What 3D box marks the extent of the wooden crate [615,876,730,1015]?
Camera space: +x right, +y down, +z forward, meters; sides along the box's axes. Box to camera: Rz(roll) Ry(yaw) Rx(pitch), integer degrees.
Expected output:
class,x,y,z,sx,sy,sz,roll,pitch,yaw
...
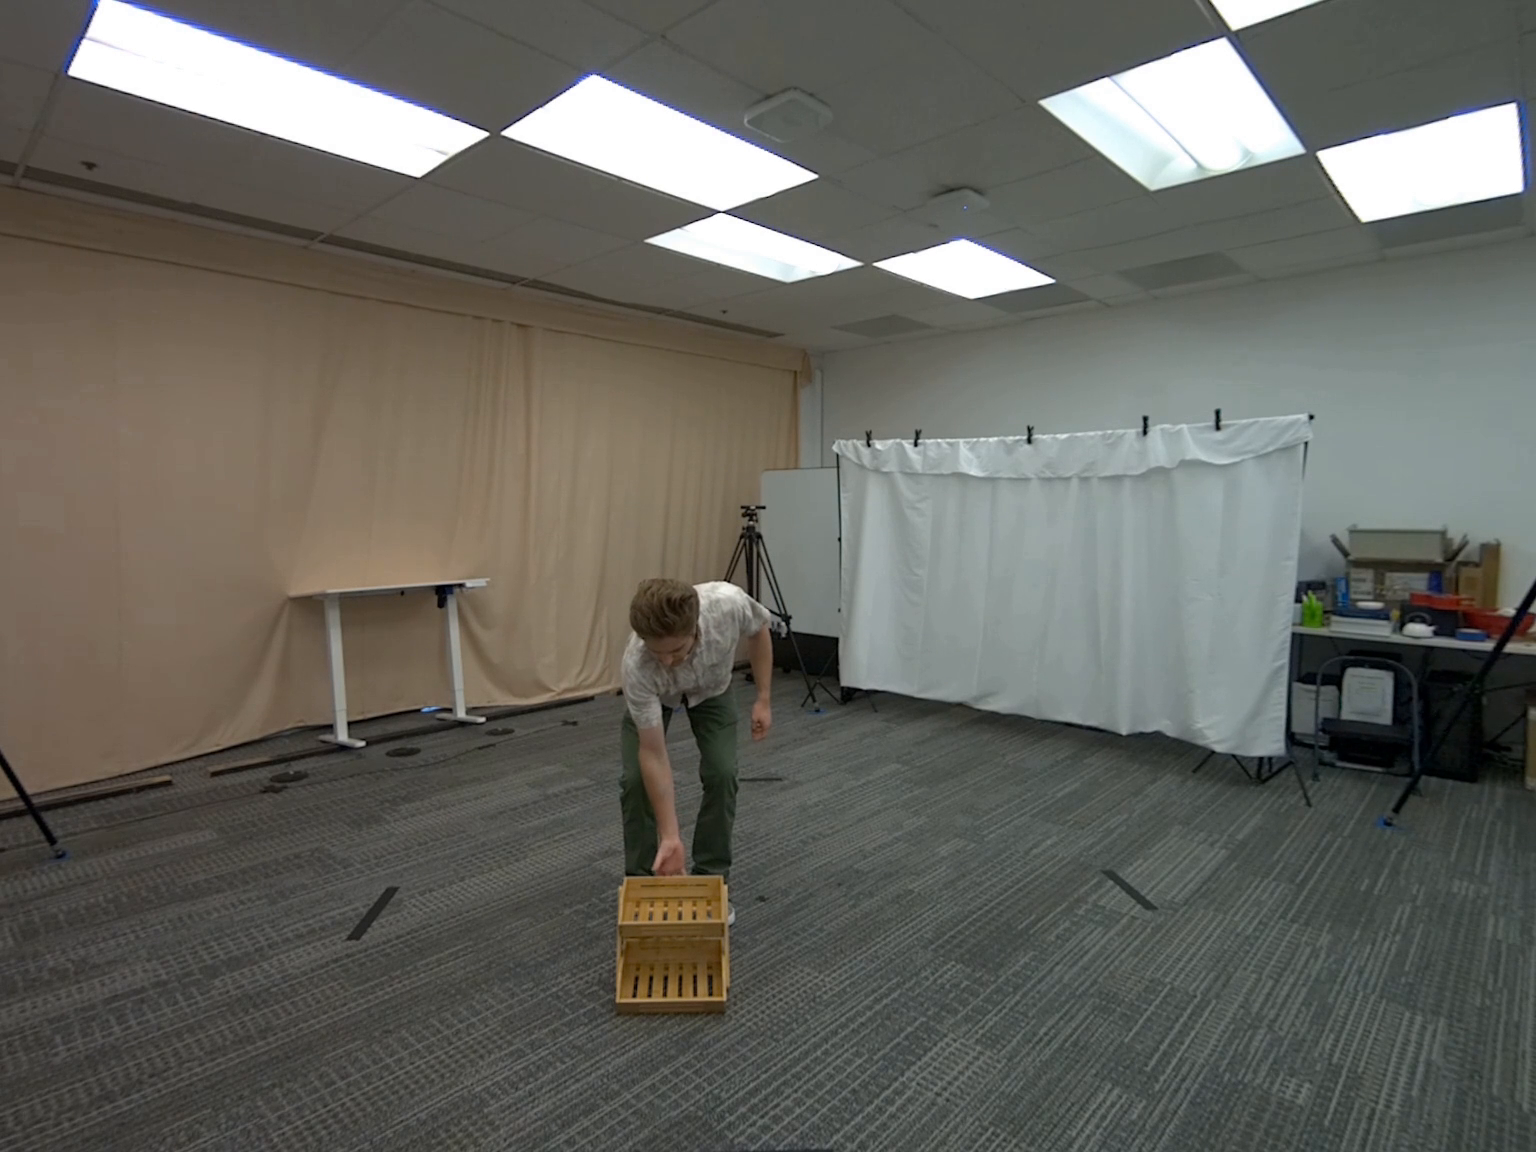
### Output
class,x,y,z,sx,sy,sz,roll,pitch,yaw
wooden crate,-0.278,1.056,2.434,0.324,0.273,0.303,0,3,-3
